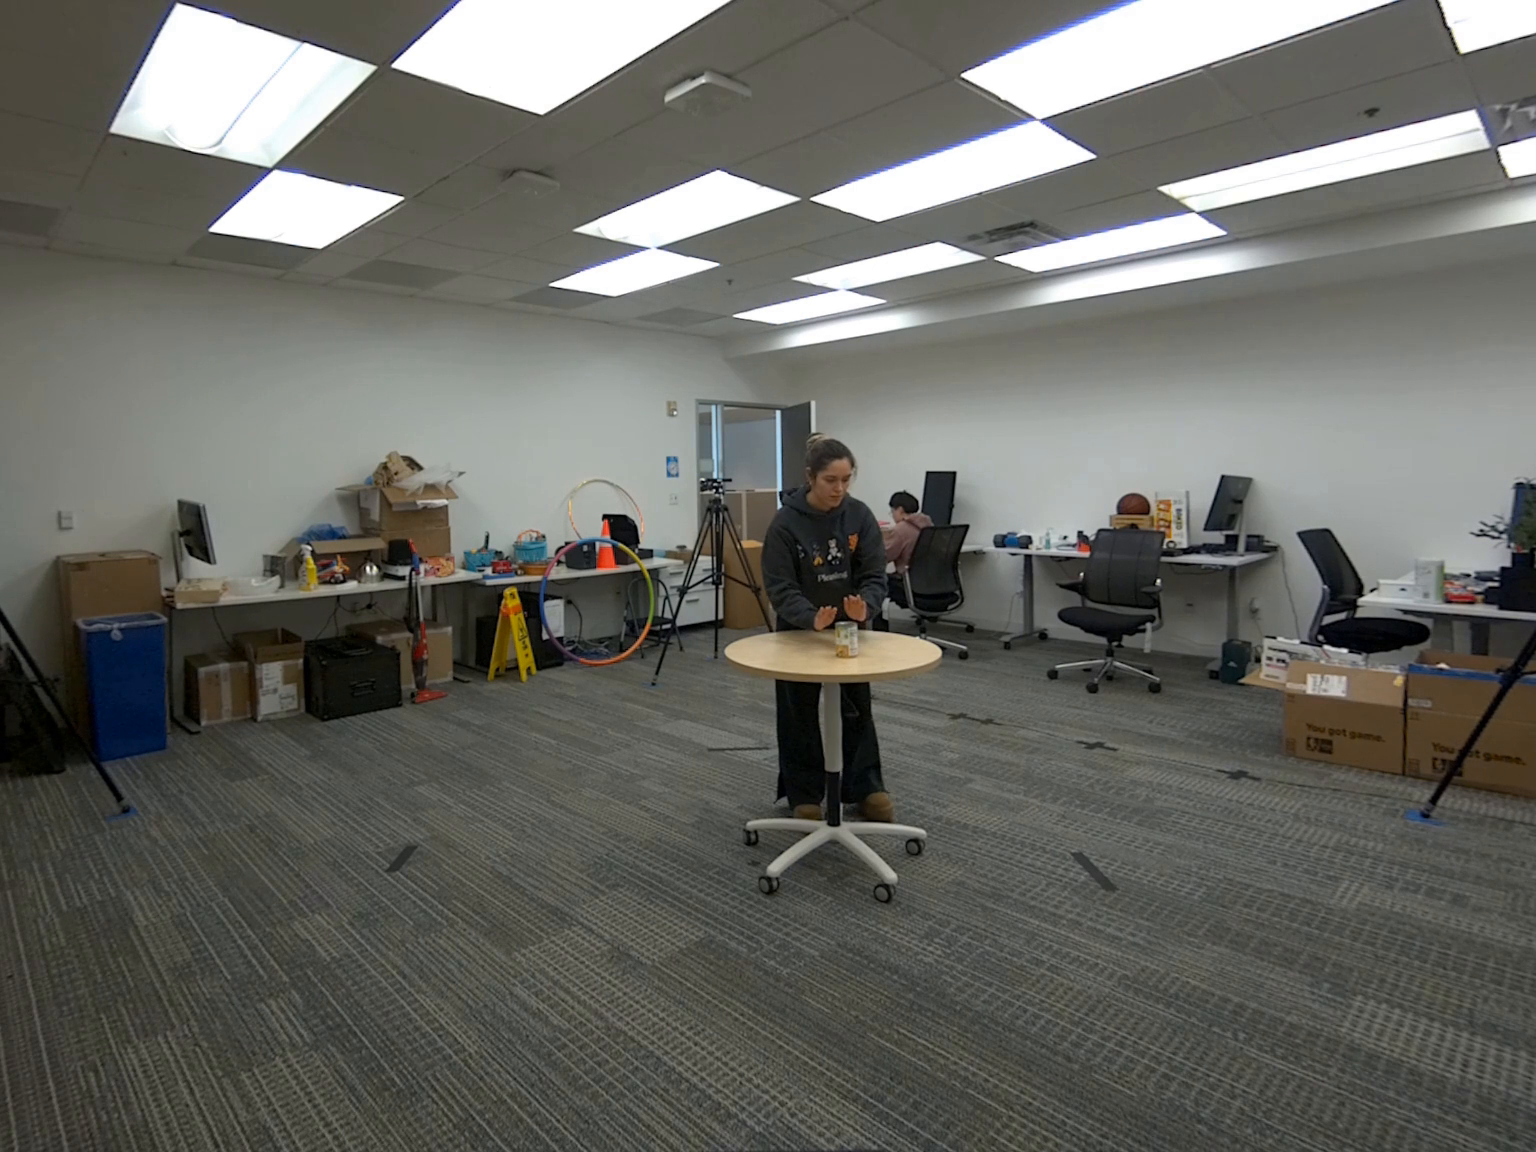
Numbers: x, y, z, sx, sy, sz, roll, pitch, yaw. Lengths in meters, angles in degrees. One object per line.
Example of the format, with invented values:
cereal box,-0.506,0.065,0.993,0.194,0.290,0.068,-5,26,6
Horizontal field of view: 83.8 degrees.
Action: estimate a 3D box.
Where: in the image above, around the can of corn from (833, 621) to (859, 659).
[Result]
can of corn,0.271,0.226,2.926,0.074,0.110,0.074,1,5,-2
